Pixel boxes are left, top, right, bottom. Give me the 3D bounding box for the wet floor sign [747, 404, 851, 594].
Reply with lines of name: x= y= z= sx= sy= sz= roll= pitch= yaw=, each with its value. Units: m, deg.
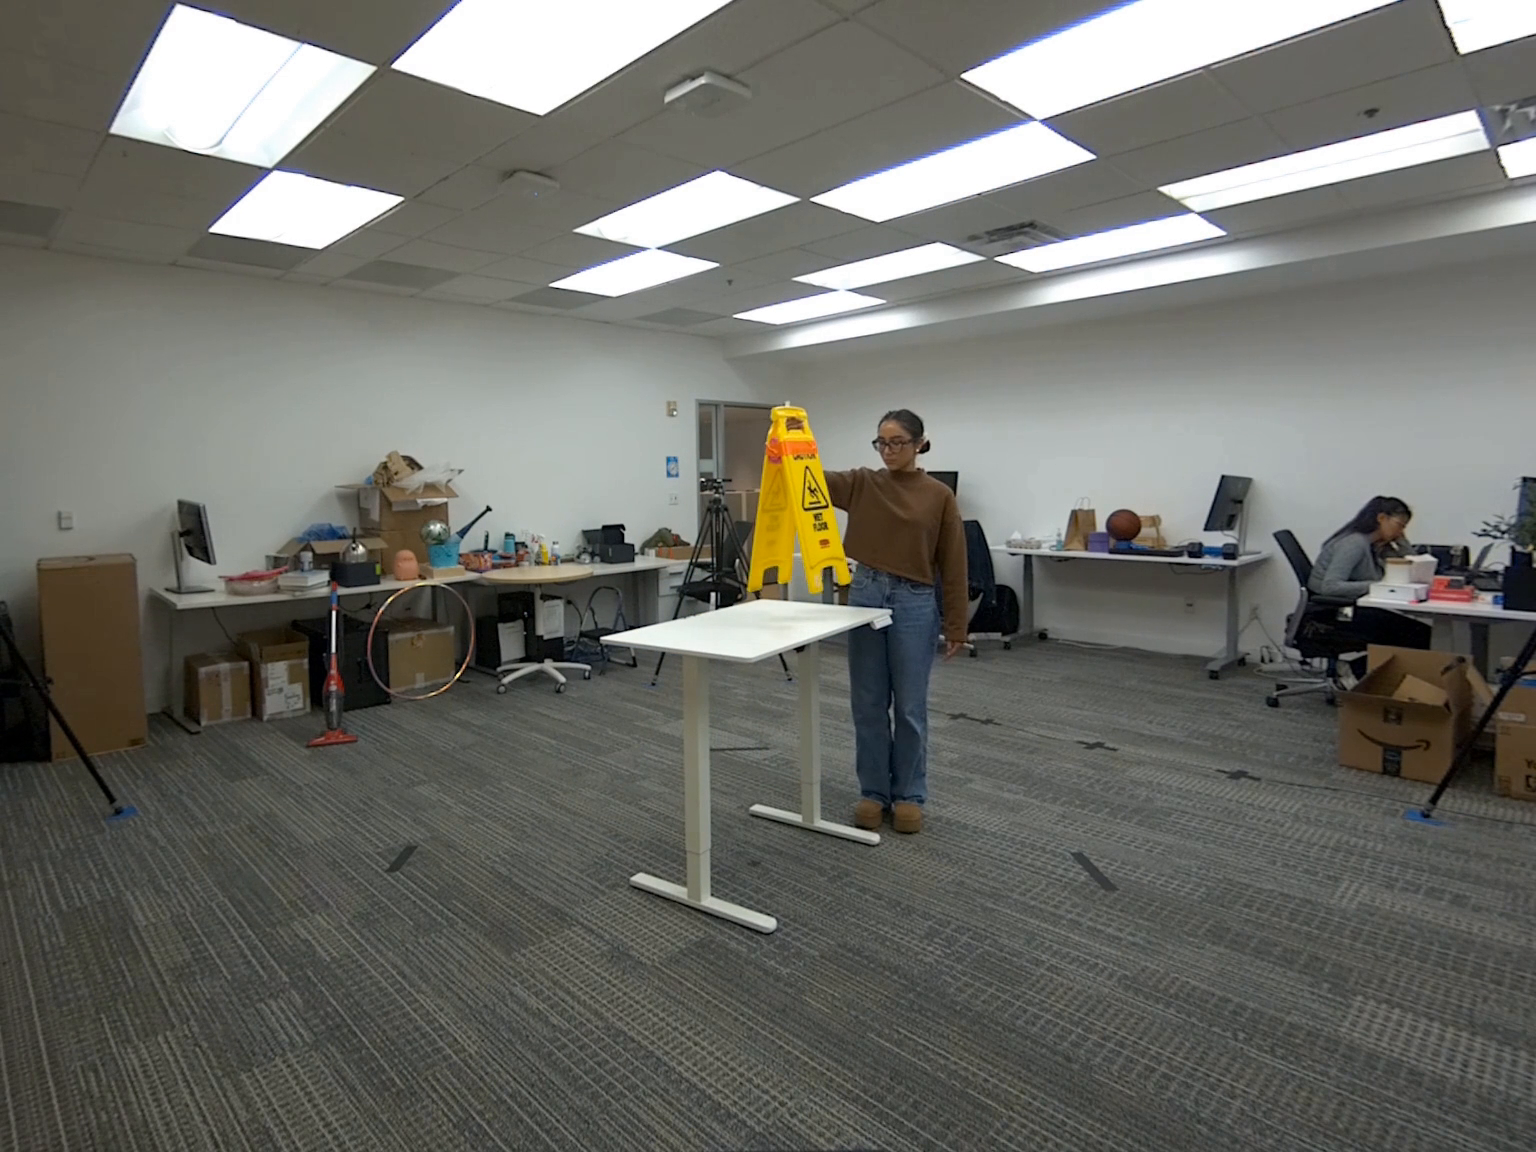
wet floor sign: x=0.095 y=-0.279 z=3.071 sx=0.297 sy=0.644 sz=0.276 roll=-2 pitch=4 yaw=35
